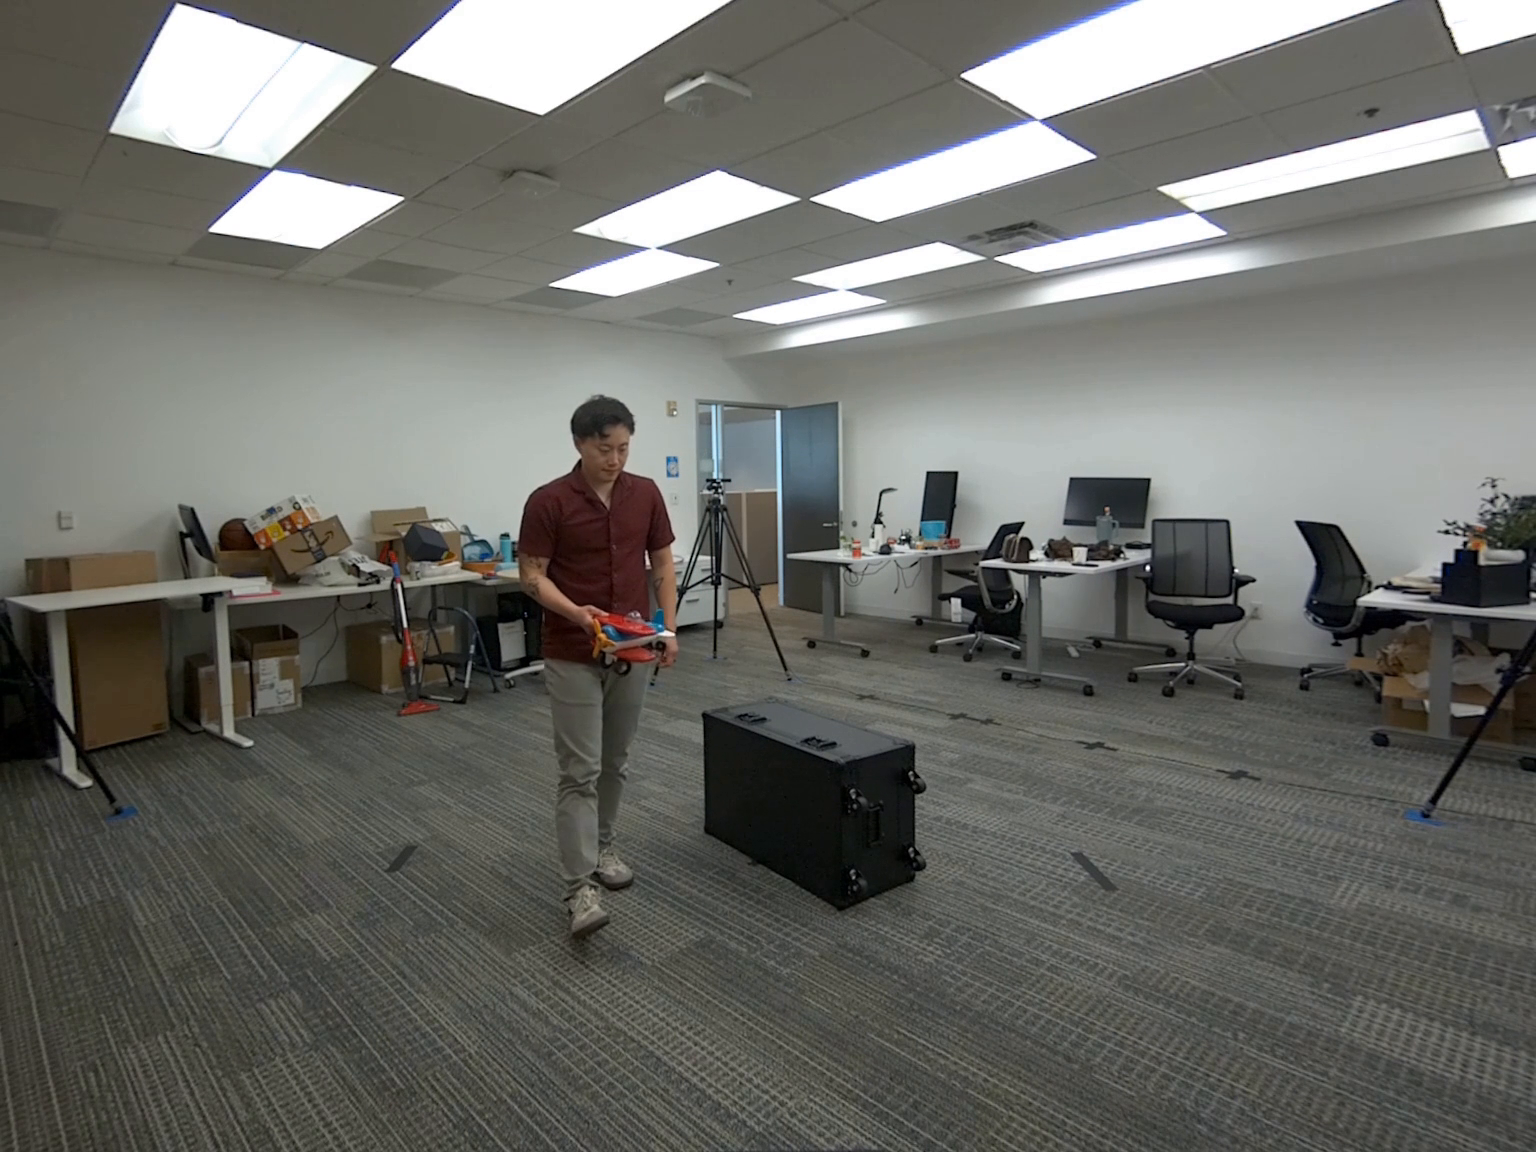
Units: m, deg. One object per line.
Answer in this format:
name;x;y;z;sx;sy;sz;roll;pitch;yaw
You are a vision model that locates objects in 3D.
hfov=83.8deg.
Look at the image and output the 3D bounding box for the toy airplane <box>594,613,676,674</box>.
toy airplane;-0.431;0.191;2.636;0.255;0.153;0.260;1;21;15
